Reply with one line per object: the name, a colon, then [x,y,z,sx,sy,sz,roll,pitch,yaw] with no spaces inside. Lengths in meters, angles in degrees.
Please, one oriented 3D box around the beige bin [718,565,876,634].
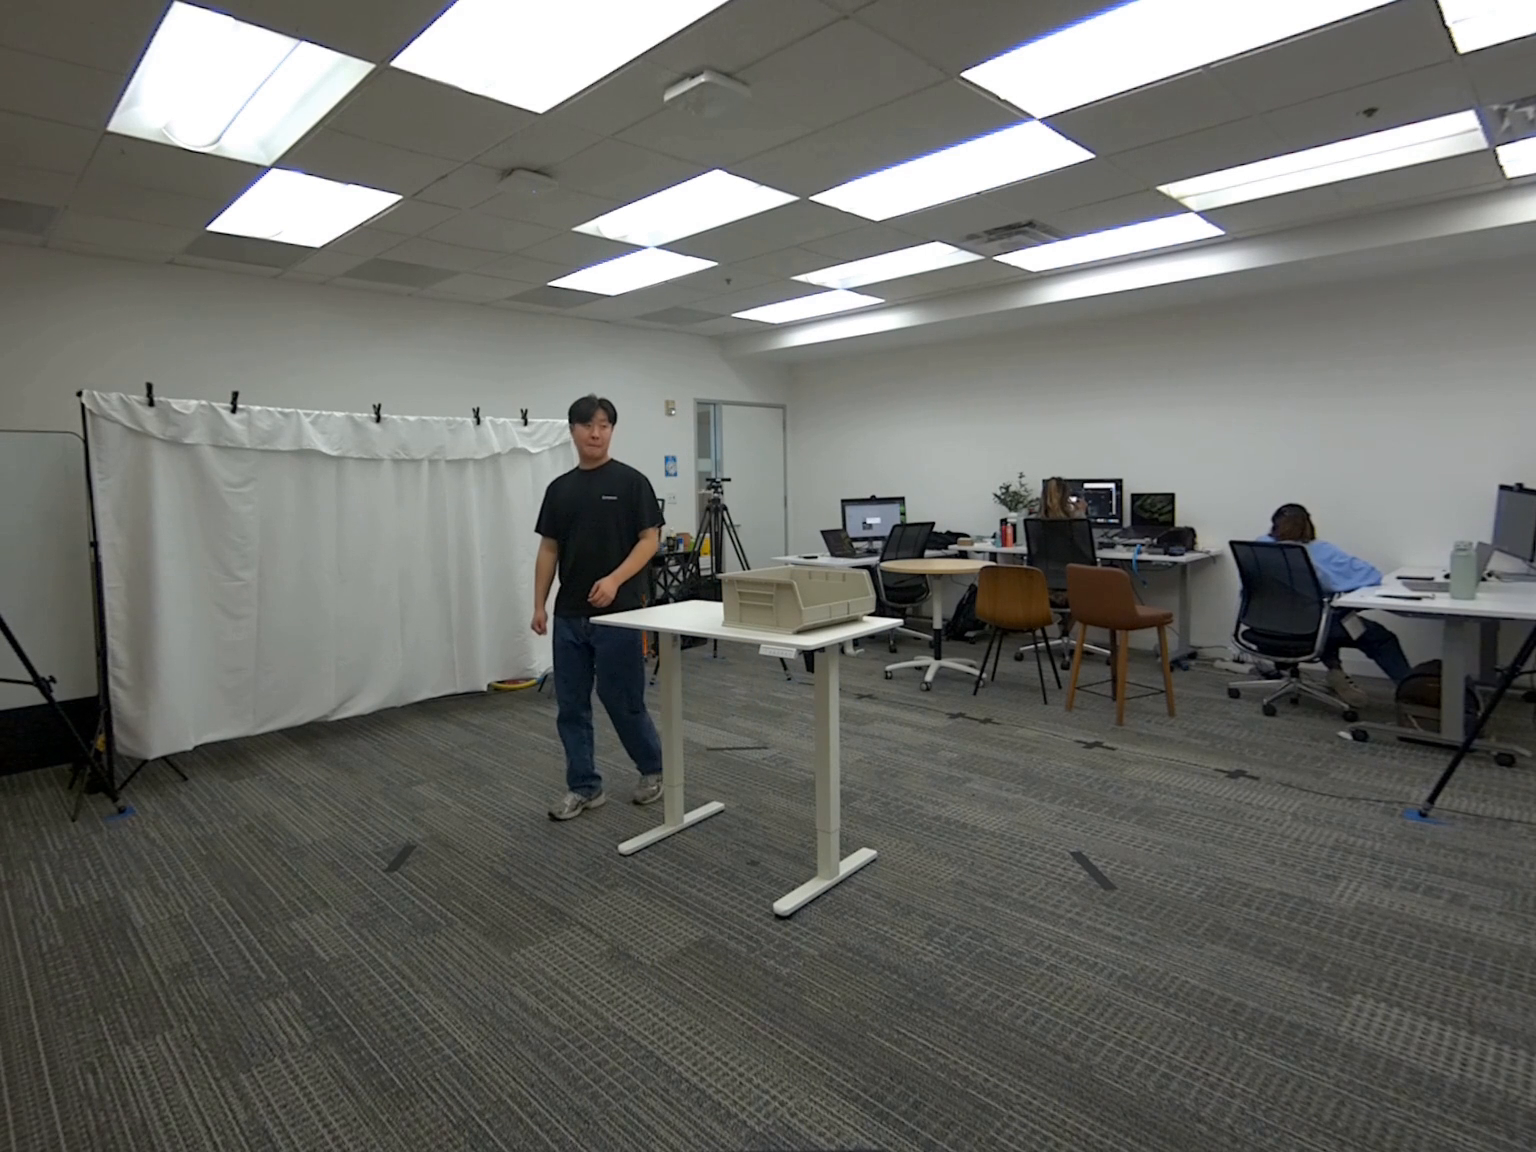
beige bin: [0.107,0.081,2.990,0.388,0.188,0.411,2,6,43]
